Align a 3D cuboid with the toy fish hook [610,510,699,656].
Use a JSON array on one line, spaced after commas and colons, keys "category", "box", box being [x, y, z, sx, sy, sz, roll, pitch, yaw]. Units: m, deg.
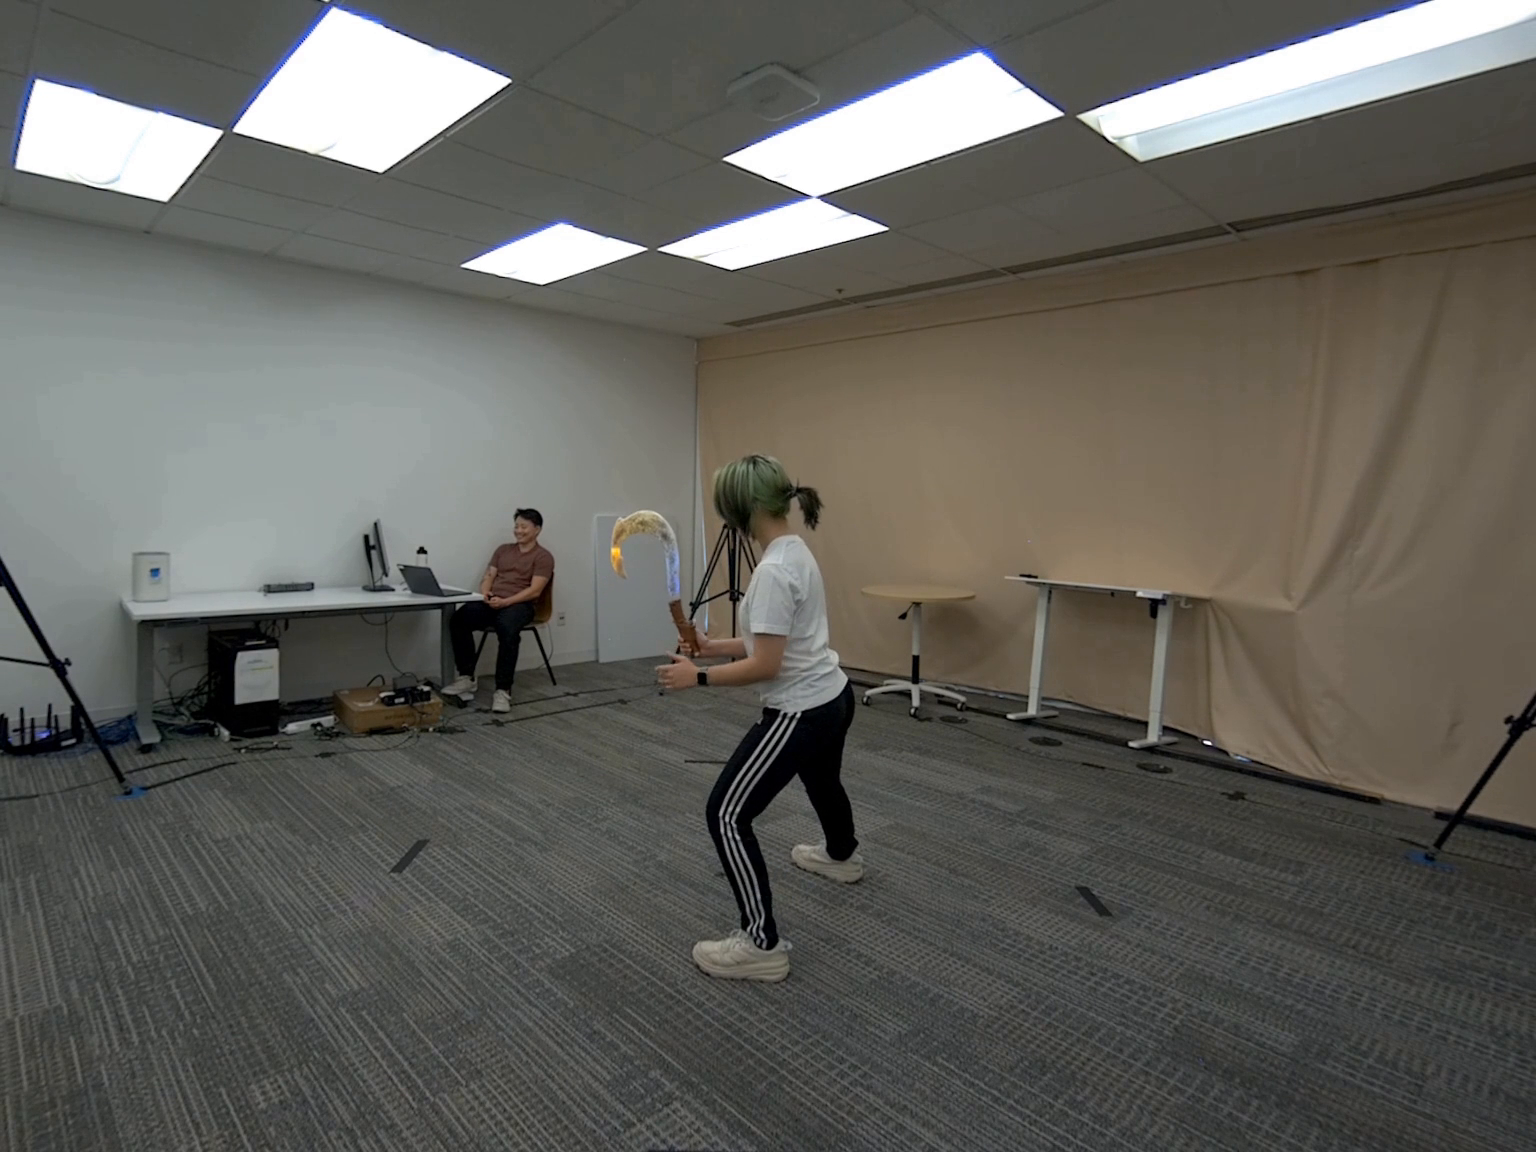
[{"category": "toy fish hook", "box": [-0.365, 0.040, 2.718, 0.226, 0.506, 0.048, -19, 1, 10]}]
